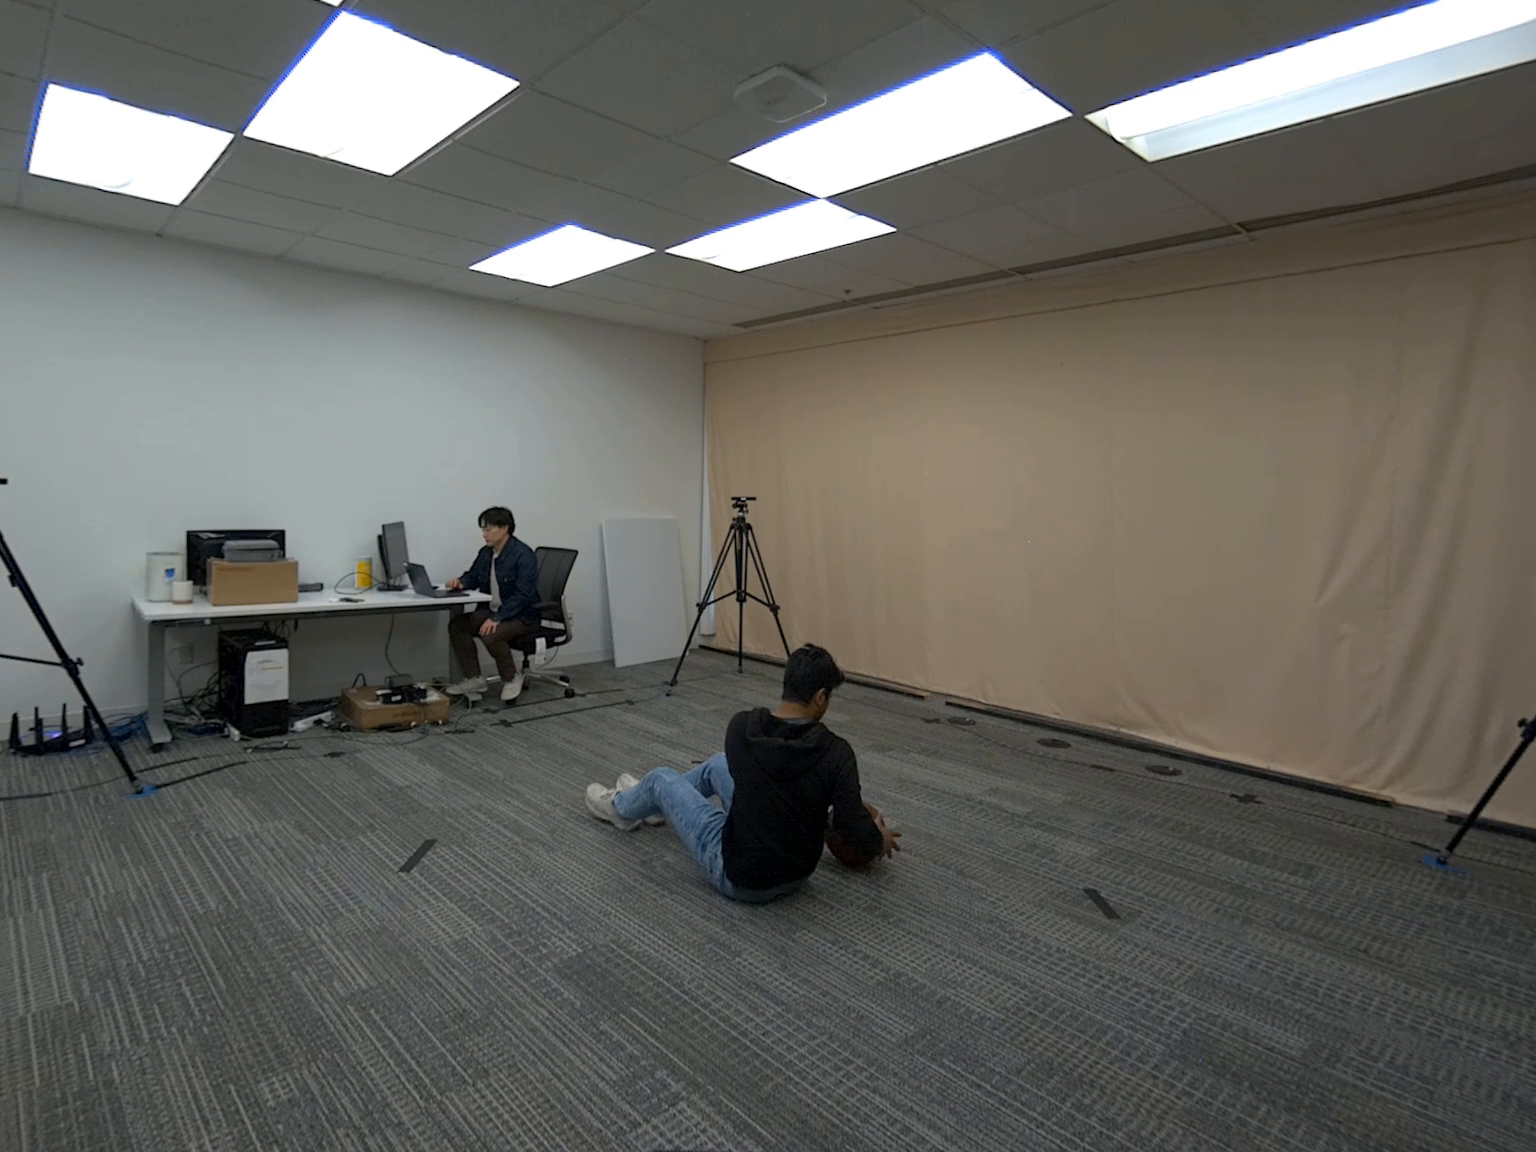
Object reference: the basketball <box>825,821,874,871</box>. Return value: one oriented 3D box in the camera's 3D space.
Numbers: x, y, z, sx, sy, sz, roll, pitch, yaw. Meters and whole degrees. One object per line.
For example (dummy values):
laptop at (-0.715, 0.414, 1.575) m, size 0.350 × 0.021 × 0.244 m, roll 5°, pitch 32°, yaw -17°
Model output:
basketball at (0.329, 0.990, 3.243) m, size 0.236 × 0.235 × 0.237 m, roll 1°, pitch 4°, yaw -1°
